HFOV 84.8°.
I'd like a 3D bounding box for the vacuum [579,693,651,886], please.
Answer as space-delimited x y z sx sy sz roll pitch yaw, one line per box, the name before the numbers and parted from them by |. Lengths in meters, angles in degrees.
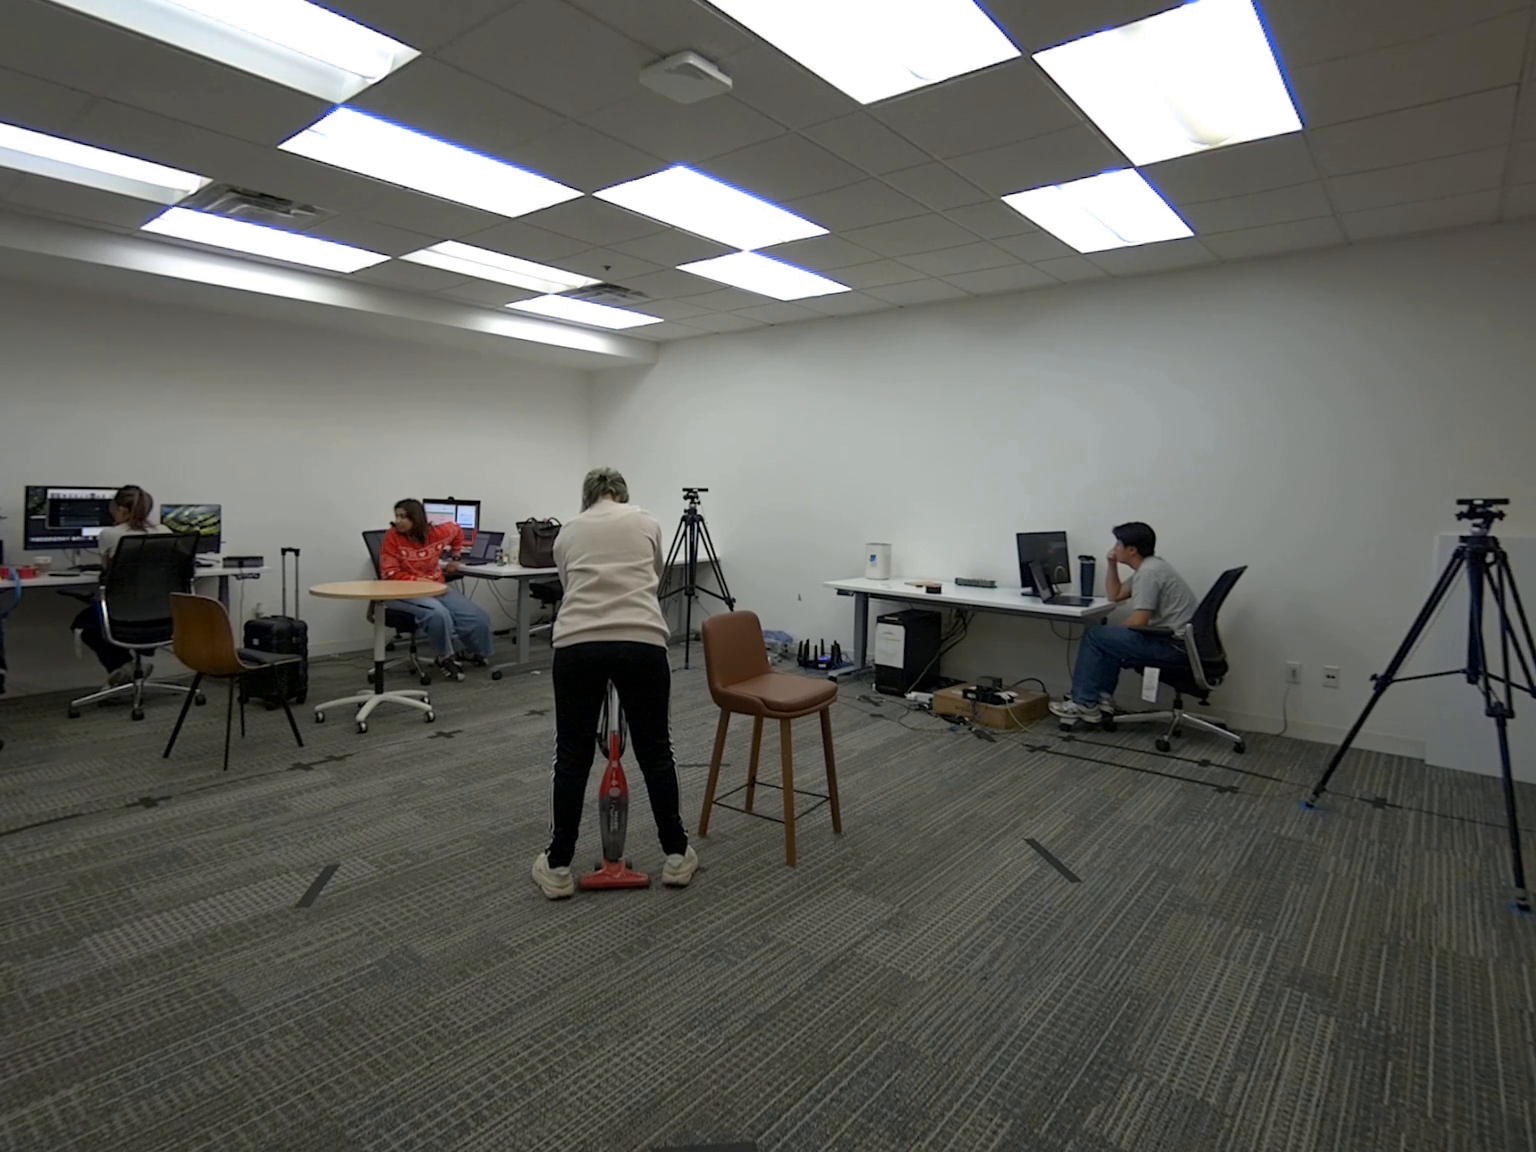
vacuum | -0.610 0.610 3.304 0.249 1.082 0.142 1 -35 -15
